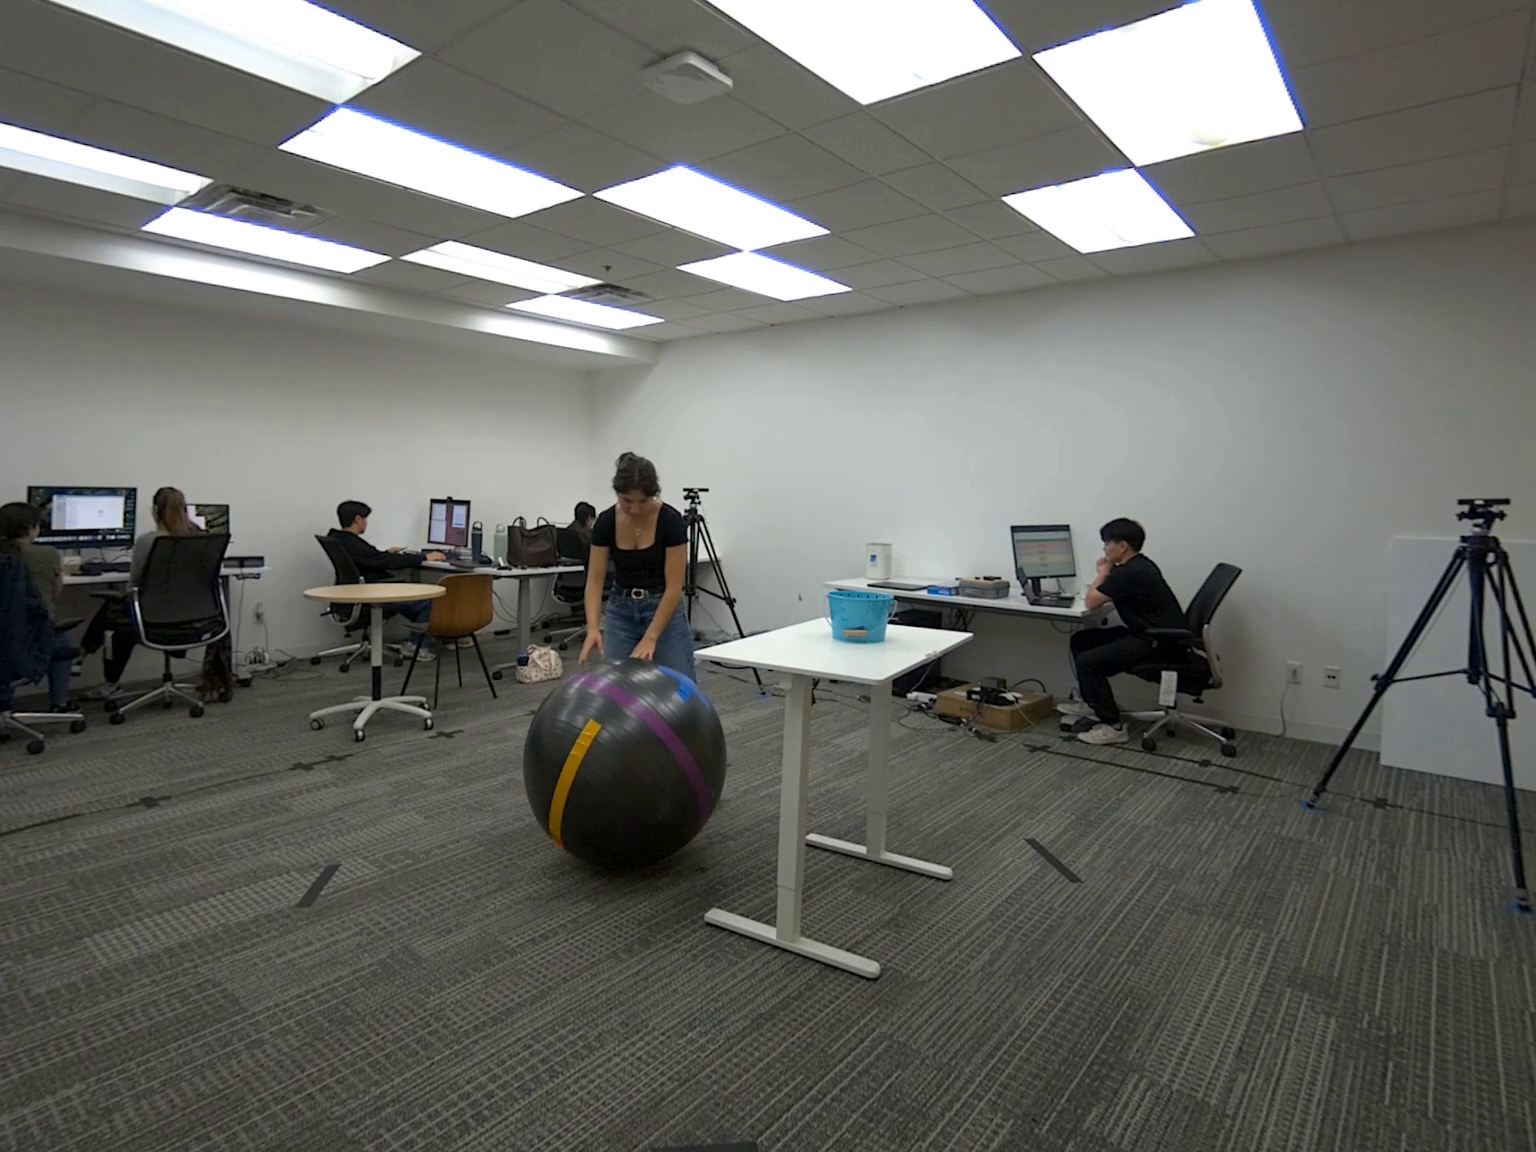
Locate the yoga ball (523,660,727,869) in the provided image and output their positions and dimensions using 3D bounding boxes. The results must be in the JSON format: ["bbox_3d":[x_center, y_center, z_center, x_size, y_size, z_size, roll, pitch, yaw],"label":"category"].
[{"bbox_3d":[-0.547,0.695,3.178,0.757,0.756,0.762,1,4,-2],"label":"yoga ball"}]
